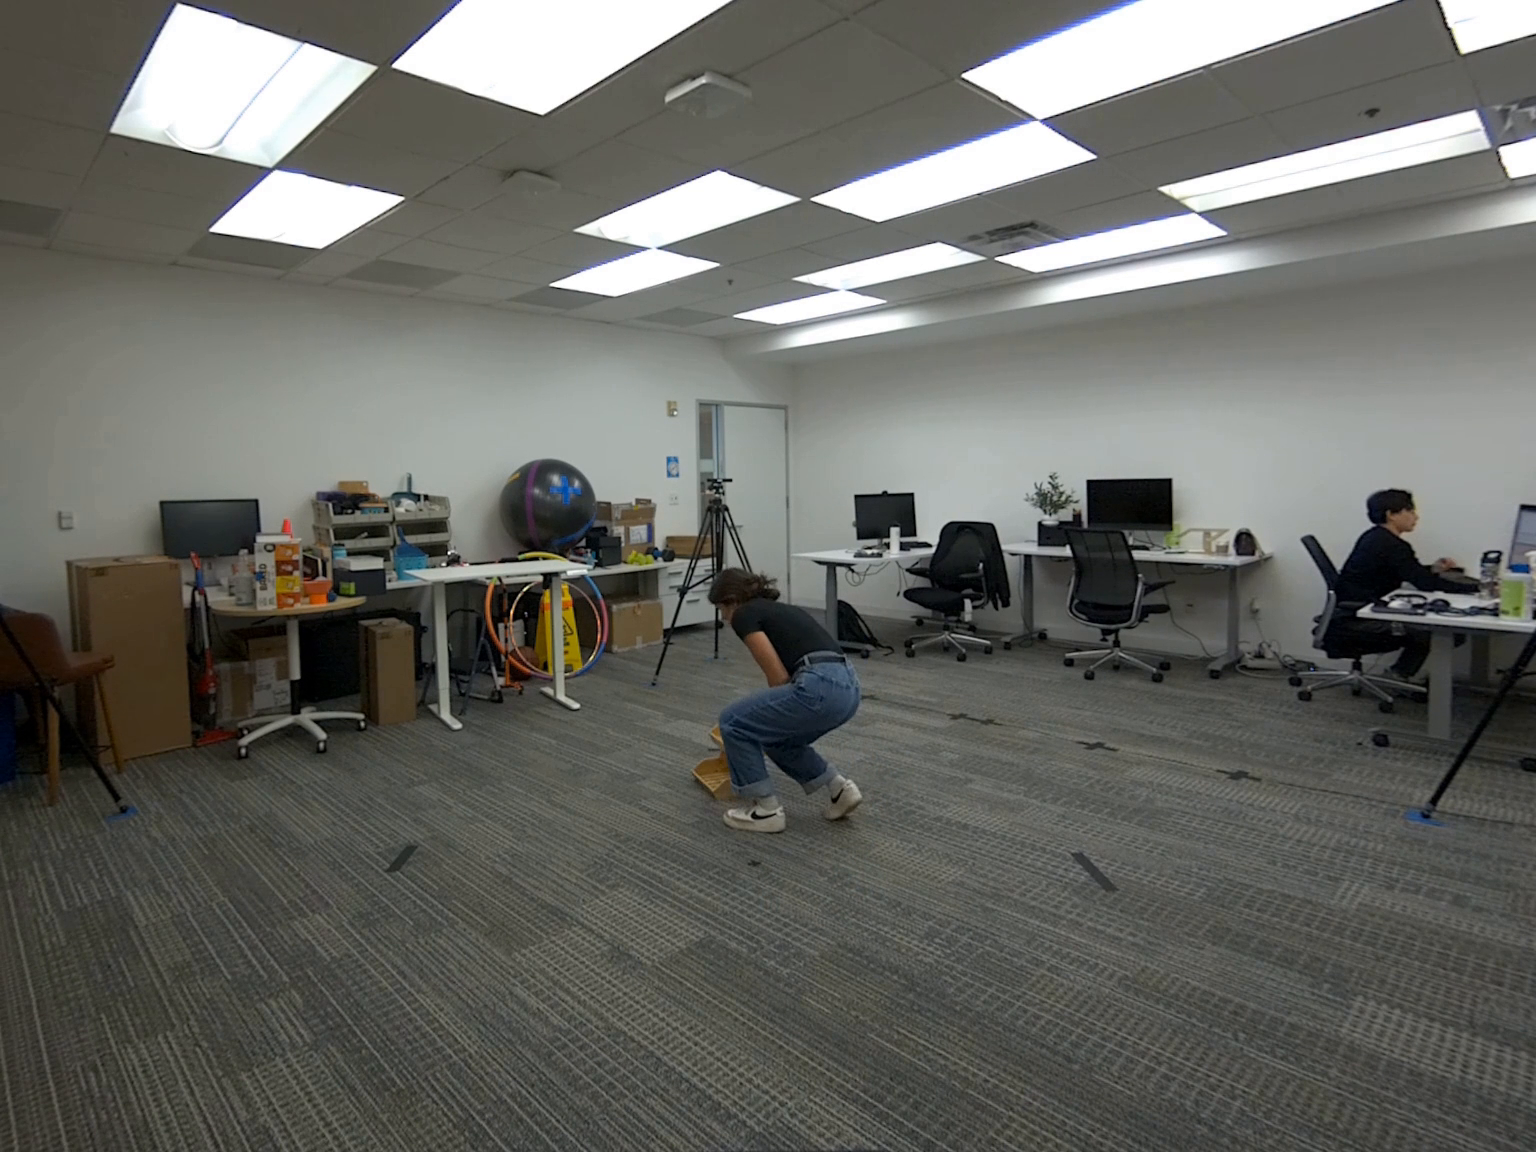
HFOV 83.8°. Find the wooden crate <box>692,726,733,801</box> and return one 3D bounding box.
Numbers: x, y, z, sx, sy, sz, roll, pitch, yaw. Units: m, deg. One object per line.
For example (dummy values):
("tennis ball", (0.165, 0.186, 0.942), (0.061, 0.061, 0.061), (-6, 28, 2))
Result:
("wooden crate", (-0.161, 0.825, 3.891), (0.296, 0.272, 0.332), (-2, 5, -22))
